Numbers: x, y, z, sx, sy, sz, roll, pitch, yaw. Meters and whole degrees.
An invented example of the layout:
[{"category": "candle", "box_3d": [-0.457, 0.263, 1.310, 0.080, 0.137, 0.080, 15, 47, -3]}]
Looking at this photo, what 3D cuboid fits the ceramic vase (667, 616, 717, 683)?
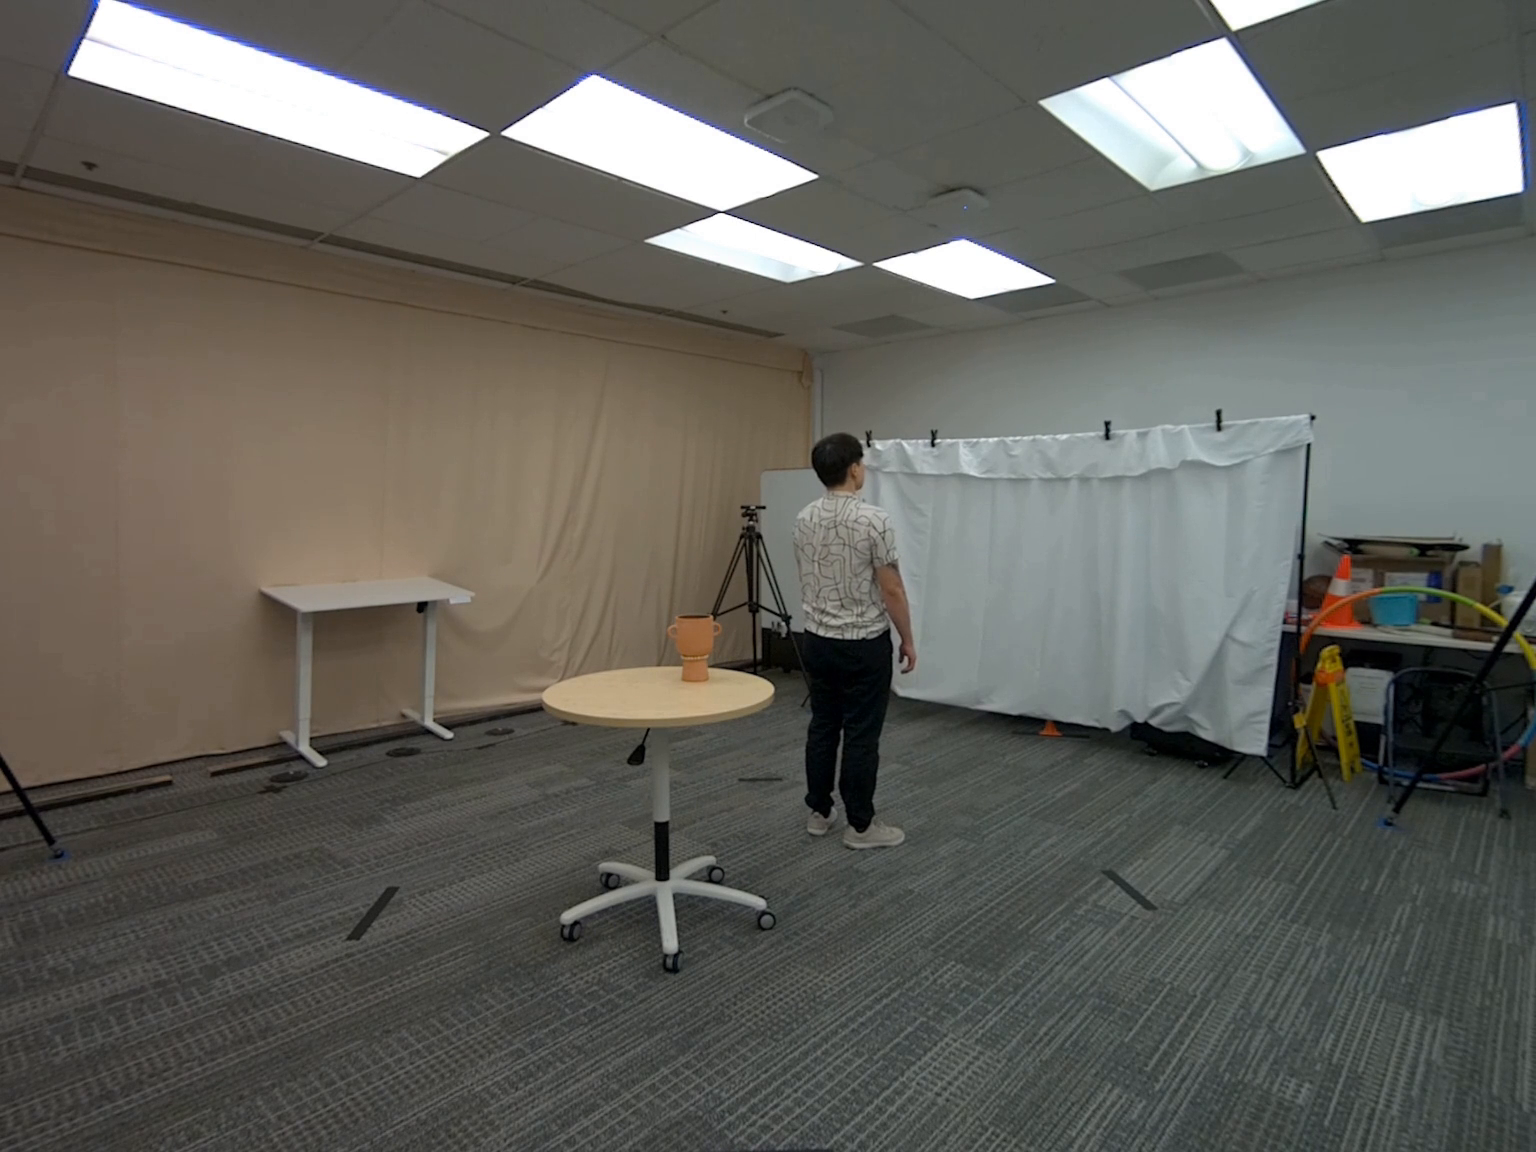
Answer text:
[{"category": "ceramic vase", "box_3d": [-0.256, 0.253, 2.945, 0.162, 0.219, 0.132, 1, 4, 18]}]
